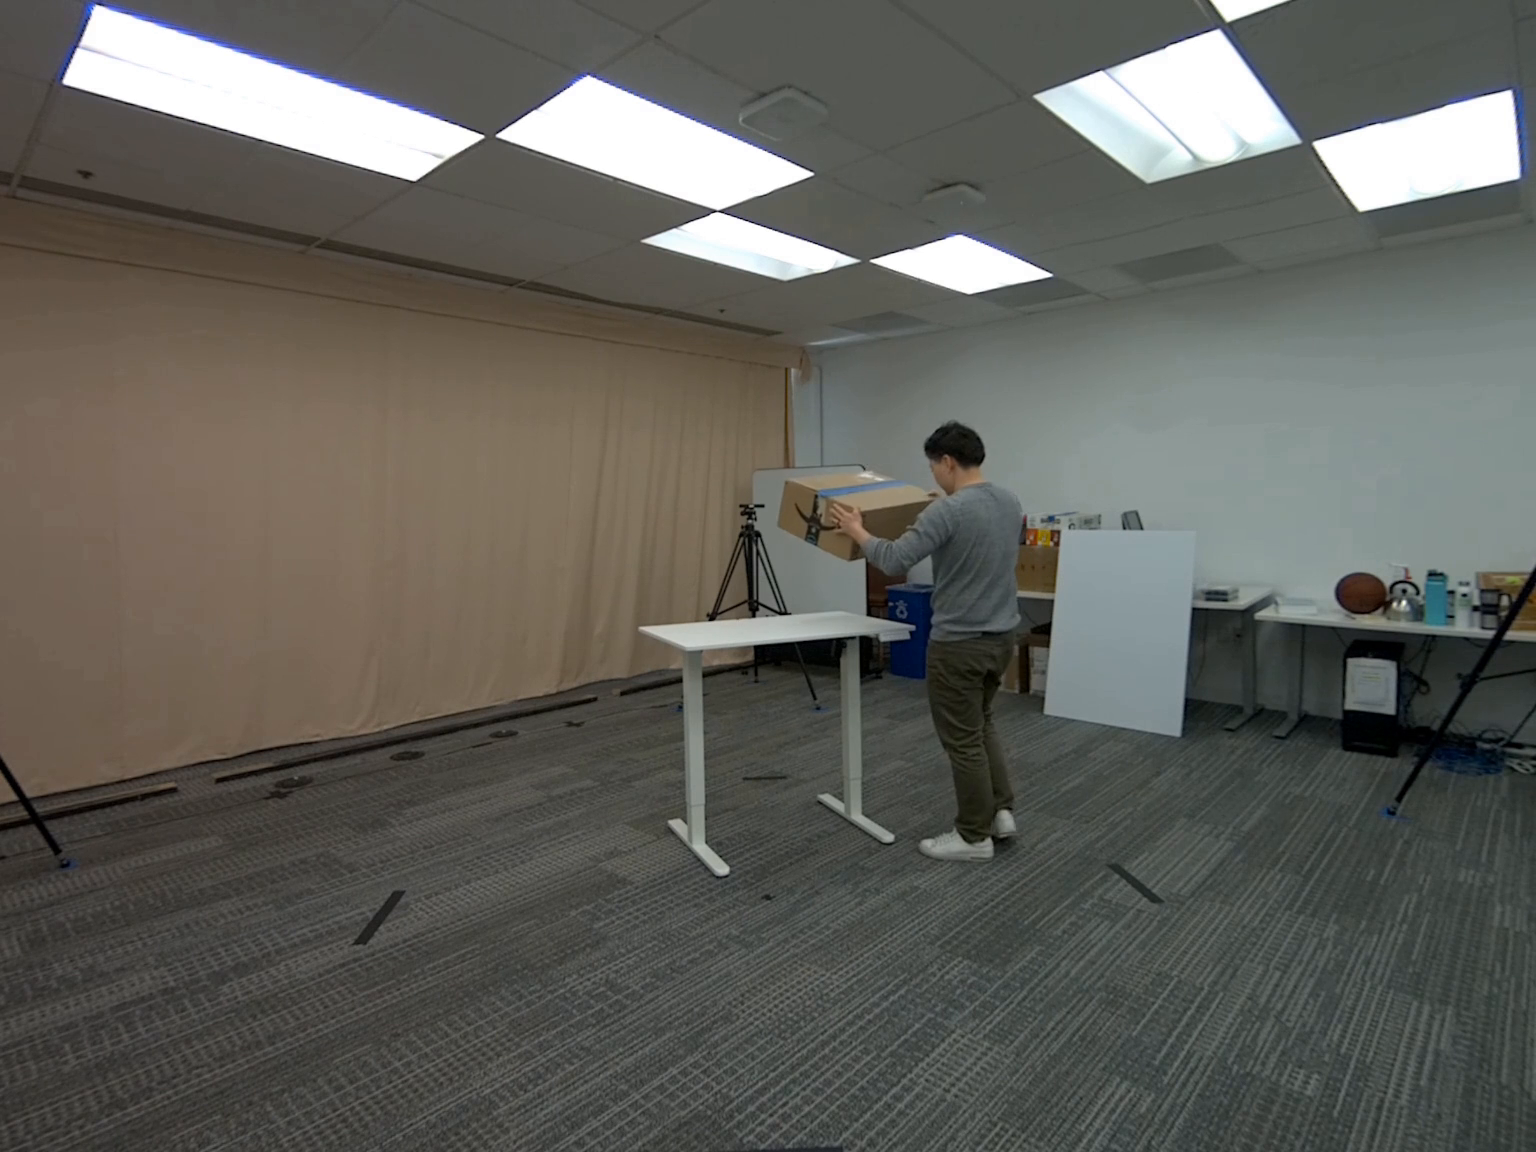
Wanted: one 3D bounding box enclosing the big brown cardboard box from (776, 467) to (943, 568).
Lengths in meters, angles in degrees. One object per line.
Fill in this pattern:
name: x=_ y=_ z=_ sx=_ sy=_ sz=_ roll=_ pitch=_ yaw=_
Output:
big brown cardboard box: x=0.405 y=-0.269 z=3.614 sx=0.573 sy=0.231 sz=0.433 roll=-13 pitch=30 yaw=-43
